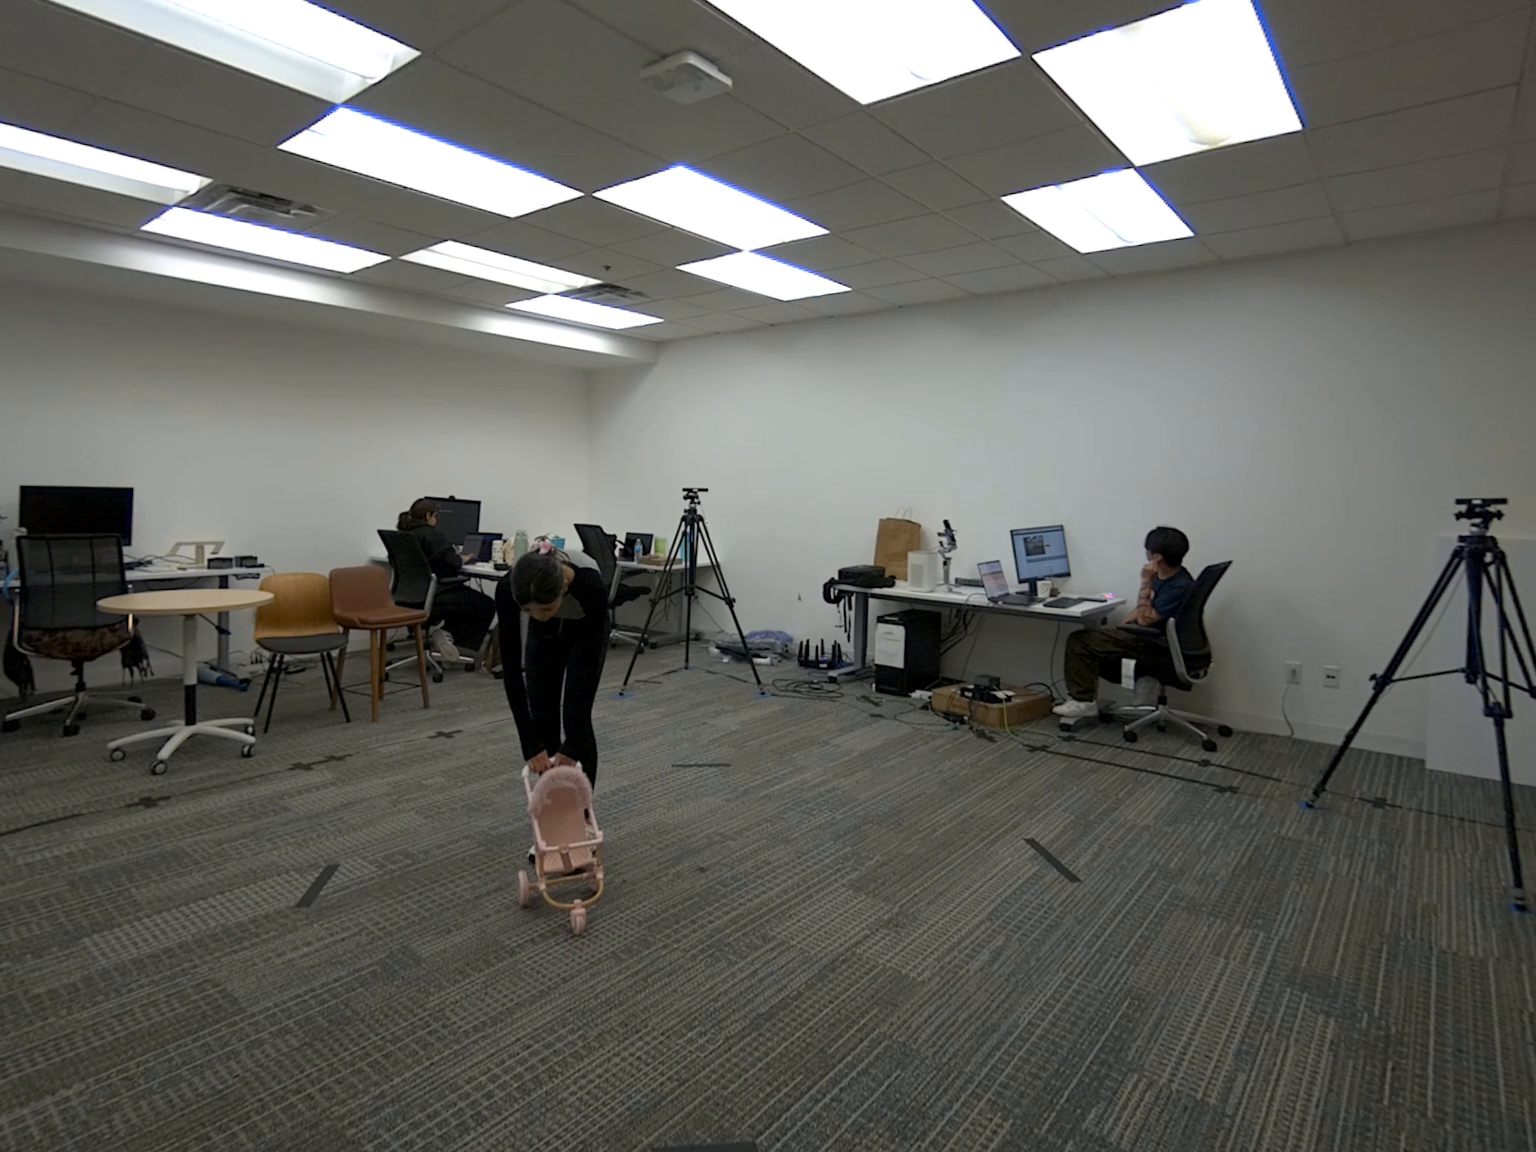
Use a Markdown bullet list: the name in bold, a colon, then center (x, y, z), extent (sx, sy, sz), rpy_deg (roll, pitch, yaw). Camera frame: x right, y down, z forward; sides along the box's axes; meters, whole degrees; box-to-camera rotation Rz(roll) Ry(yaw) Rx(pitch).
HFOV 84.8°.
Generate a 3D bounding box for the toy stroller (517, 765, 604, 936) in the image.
- **toy stroller**: center (-0.683, 0.867, 2.800), extent (0.276, 0.542, 0.344), rpy_deg (-2, -12, -22)
